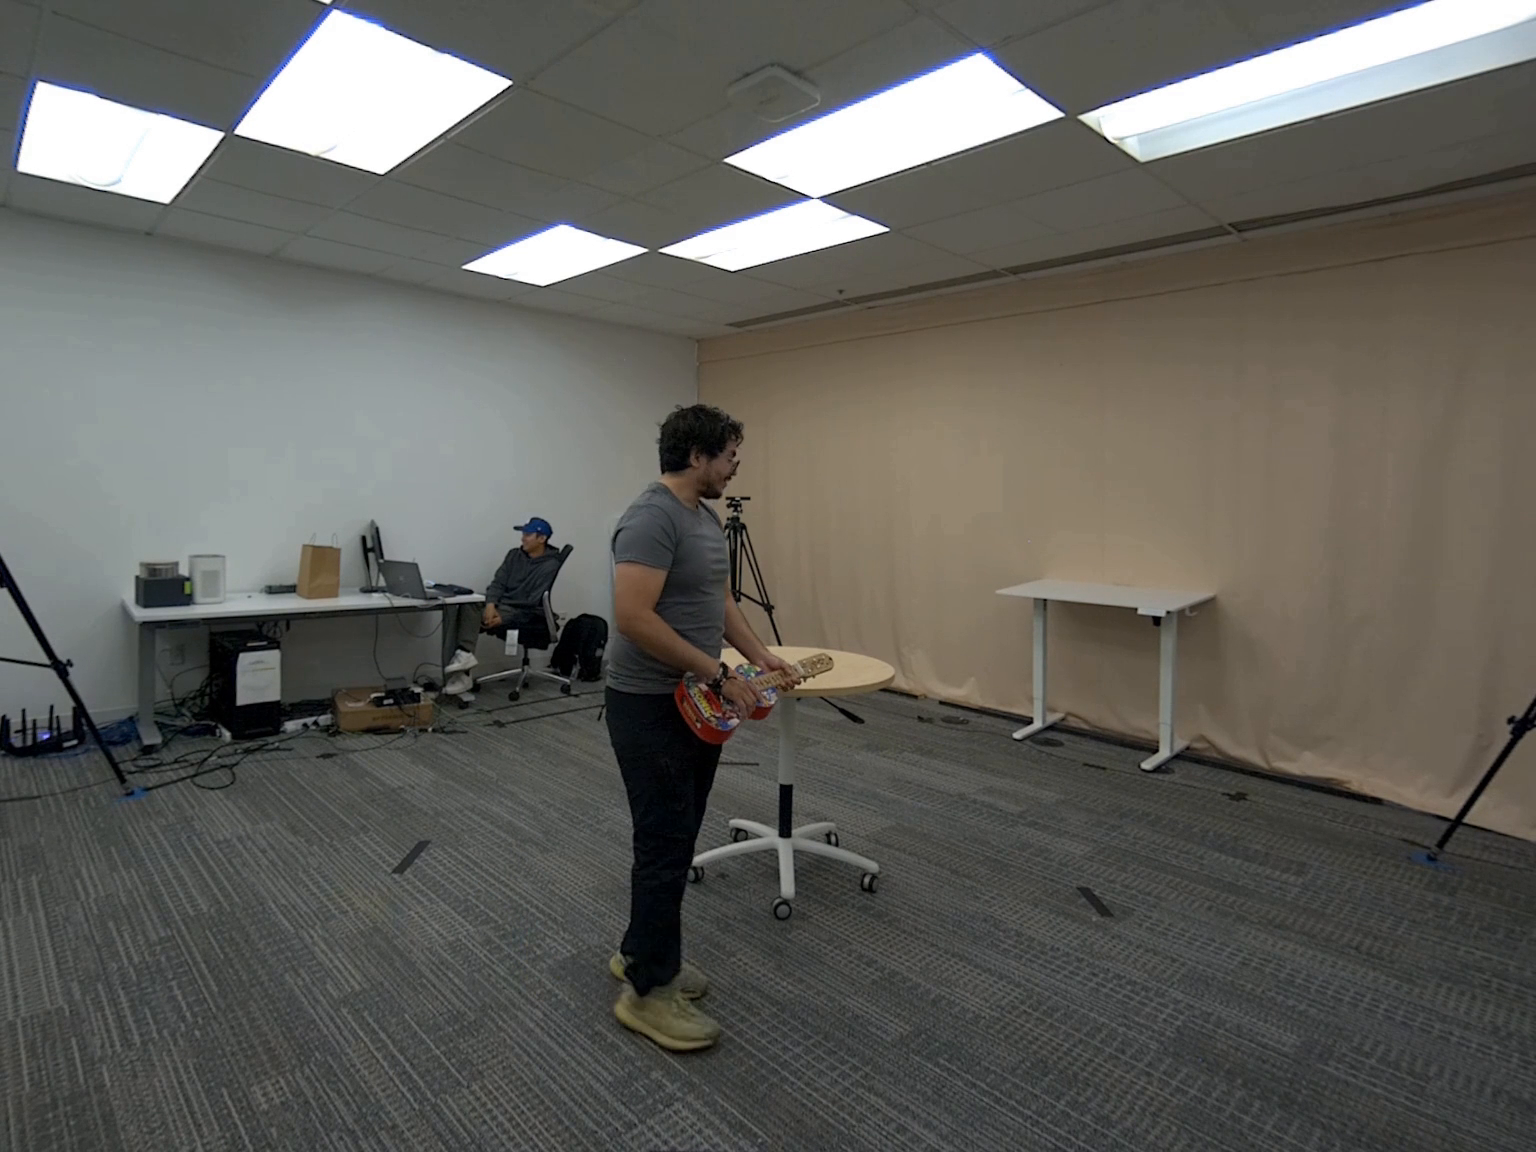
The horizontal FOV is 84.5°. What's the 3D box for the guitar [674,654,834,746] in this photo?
[{"bbox_3d":[-0.009,0.316,2.241,0.487,0.070,0.198,-4,49,-34],"label":"guitar"}]
